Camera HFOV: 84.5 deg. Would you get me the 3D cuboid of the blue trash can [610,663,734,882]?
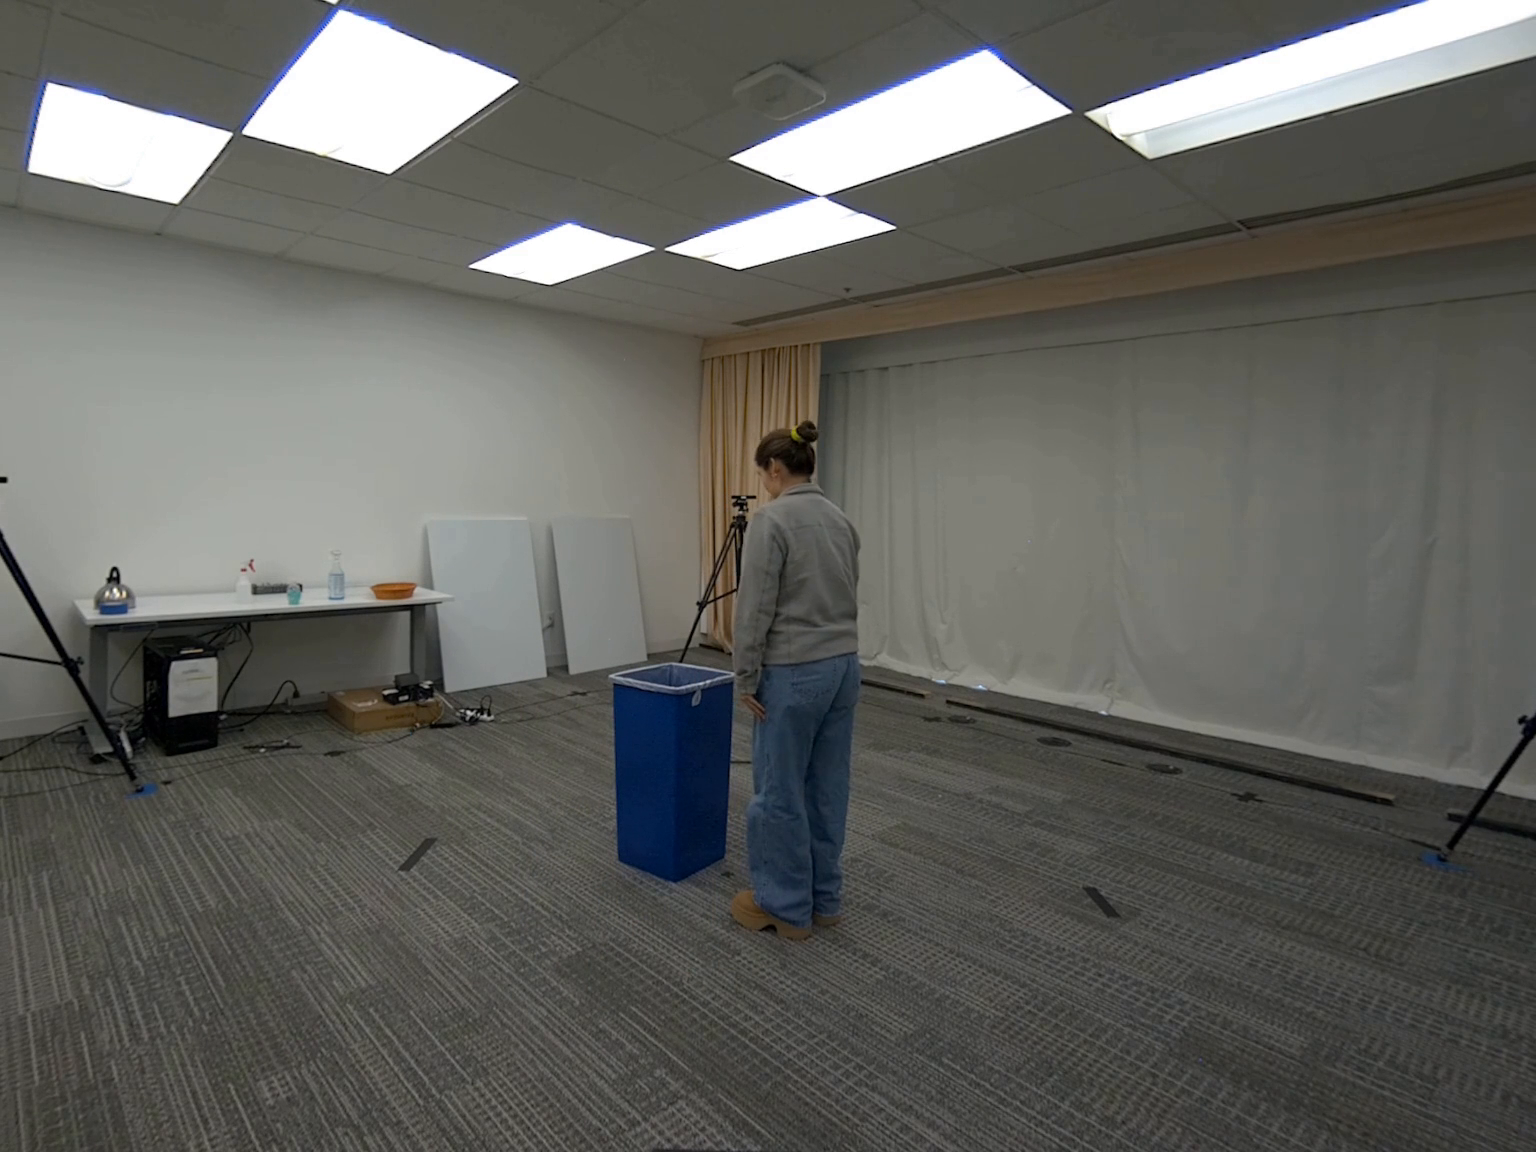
[{"bbox_3d":[-0.378,0.729,3.216,0.383,0.712,0.370,4,4,37],"label":"blue trash can"}]
